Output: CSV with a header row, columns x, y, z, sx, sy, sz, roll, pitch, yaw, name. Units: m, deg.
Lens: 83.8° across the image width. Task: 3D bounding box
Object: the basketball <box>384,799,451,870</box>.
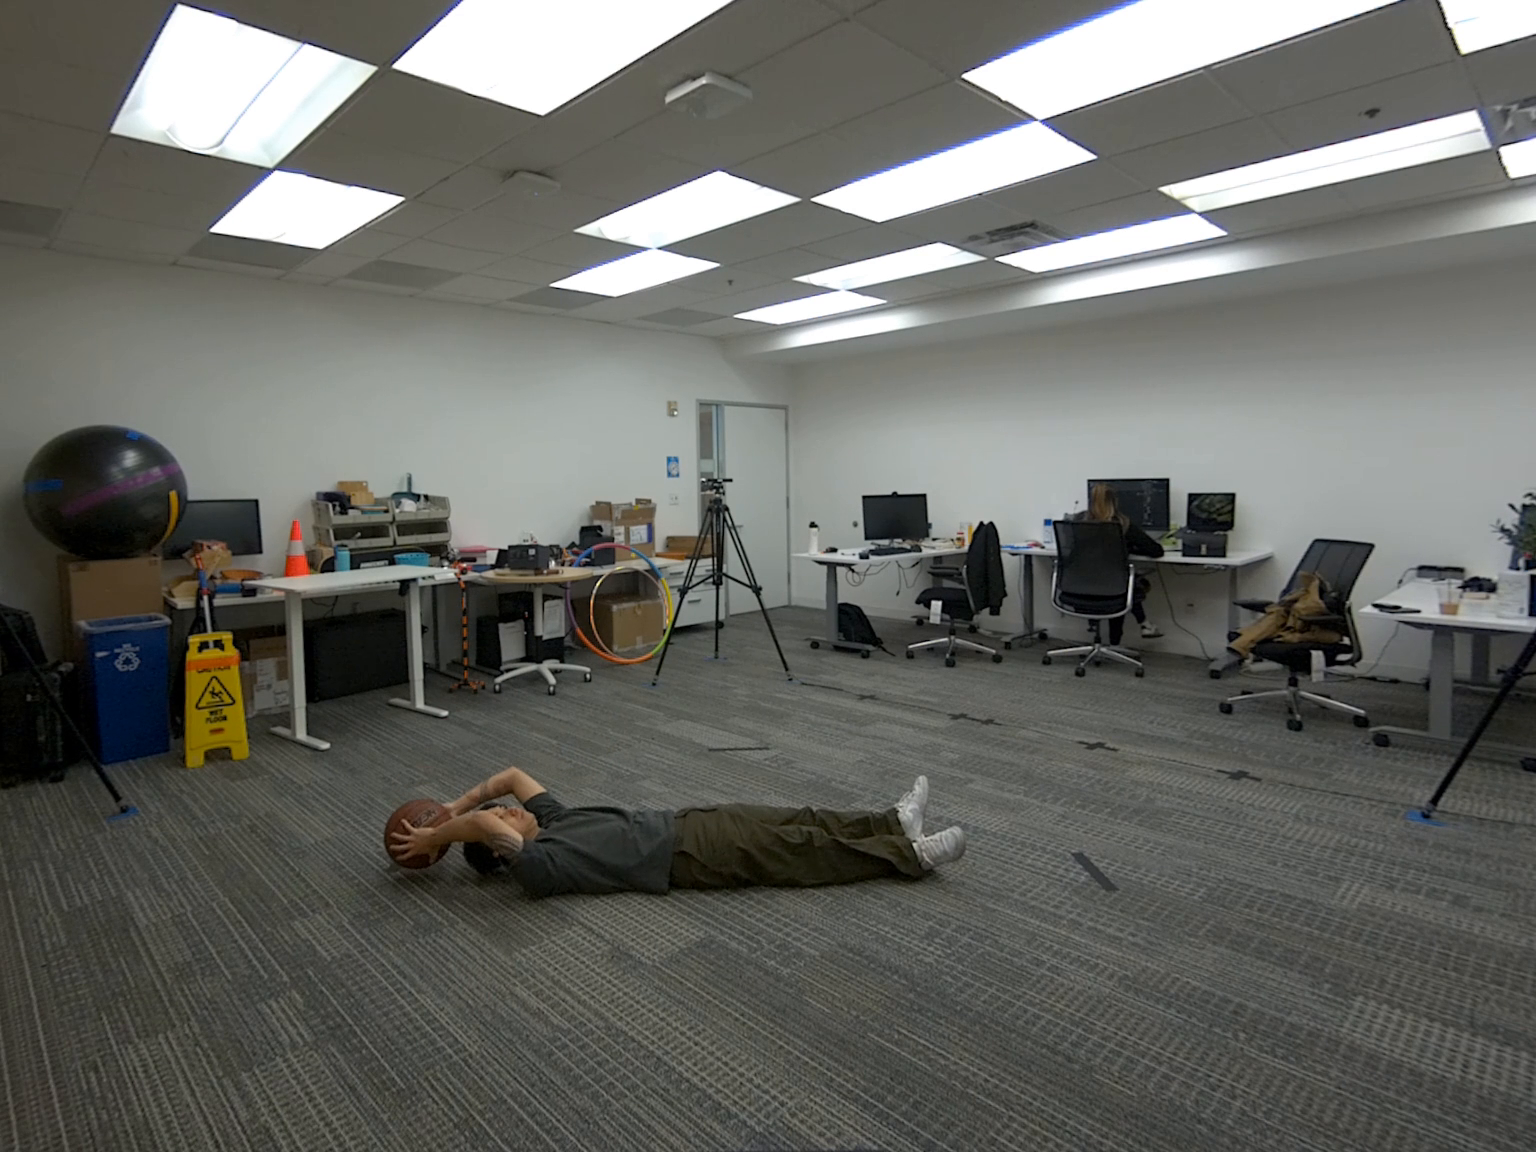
x,y,z,sx,sy,sz,roll,pitch,yaw,name
-1.250,0.921,3.063,0.236,0.235,0.237,-1,5,-2,basketball
